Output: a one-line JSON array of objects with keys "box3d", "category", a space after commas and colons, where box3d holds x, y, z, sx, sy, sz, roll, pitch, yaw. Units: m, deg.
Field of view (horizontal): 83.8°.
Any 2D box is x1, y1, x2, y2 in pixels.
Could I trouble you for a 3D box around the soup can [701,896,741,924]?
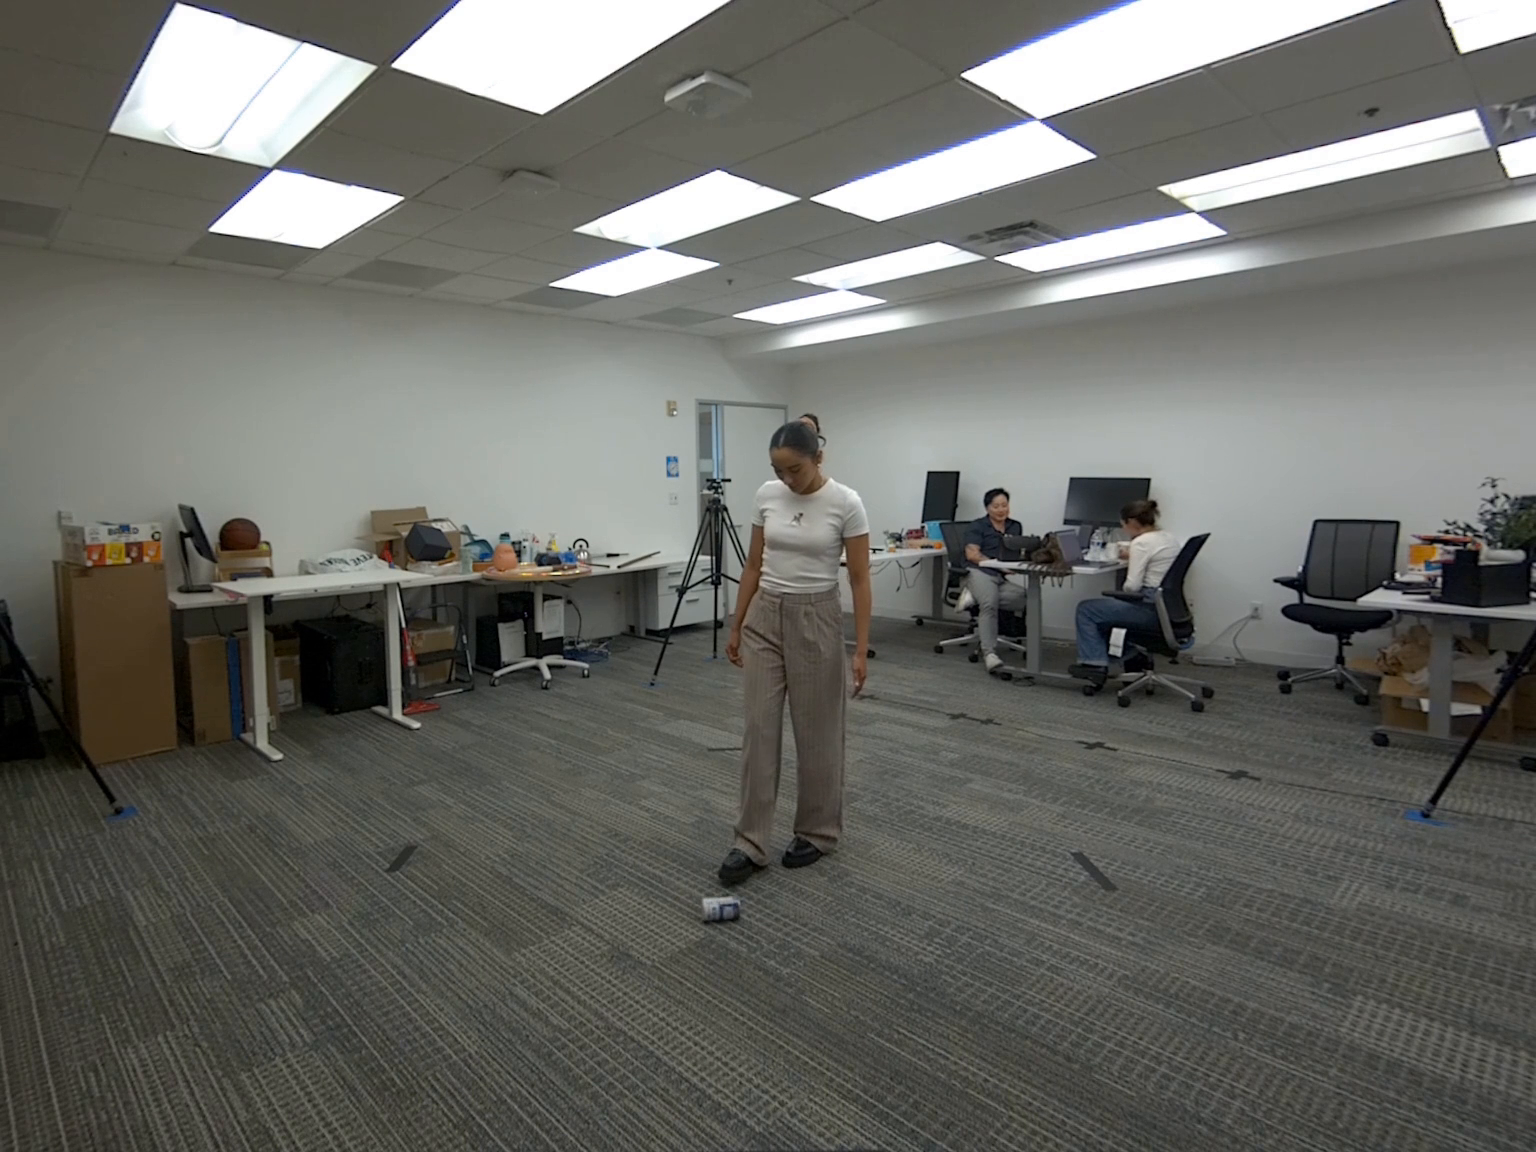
[{"box3d": [-0.148, 1.053, 2.715, 0.120, 0.067, 0.068, 3, 4, -9], "category": "soup can"}]
